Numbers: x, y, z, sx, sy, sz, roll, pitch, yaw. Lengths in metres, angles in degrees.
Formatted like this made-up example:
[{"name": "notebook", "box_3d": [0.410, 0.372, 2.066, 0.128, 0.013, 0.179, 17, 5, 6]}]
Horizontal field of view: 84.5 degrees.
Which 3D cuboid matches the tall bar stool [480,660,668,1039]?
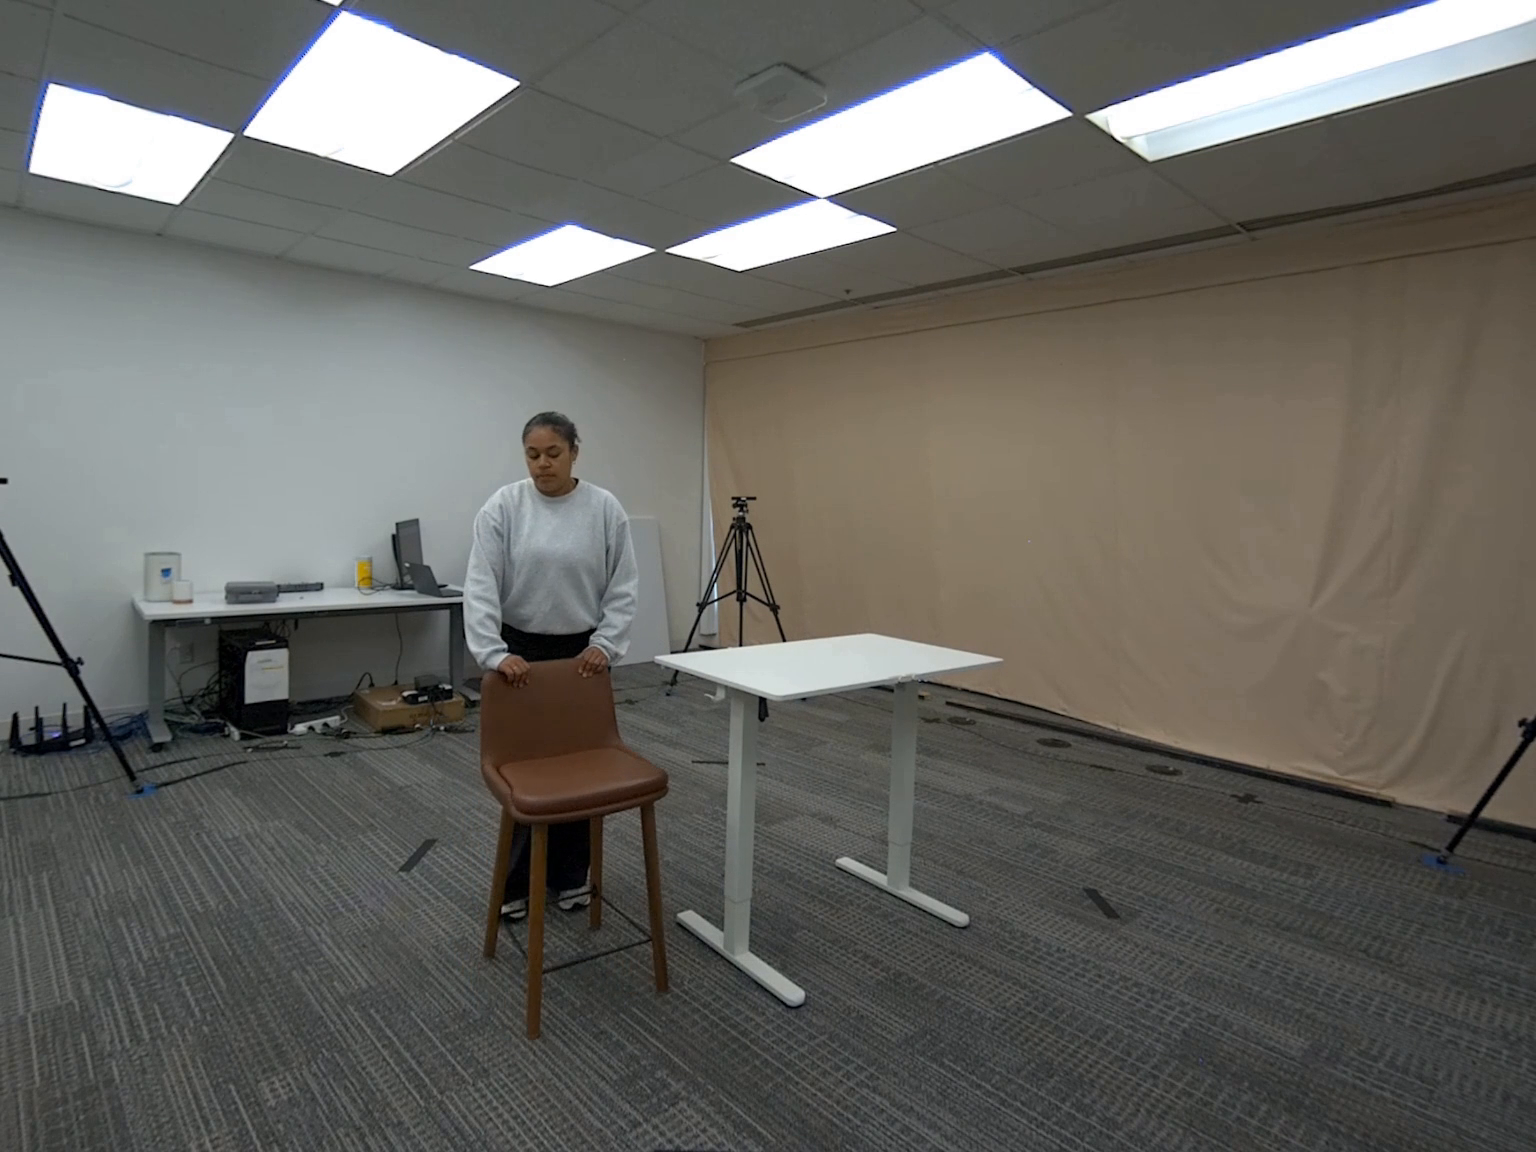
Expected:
[{"name": "tall bar stool", "box_3d": [-0.576, 0.725, 2.418, 0.447, 0.889, 0.478, -1, 2, -35]}]
